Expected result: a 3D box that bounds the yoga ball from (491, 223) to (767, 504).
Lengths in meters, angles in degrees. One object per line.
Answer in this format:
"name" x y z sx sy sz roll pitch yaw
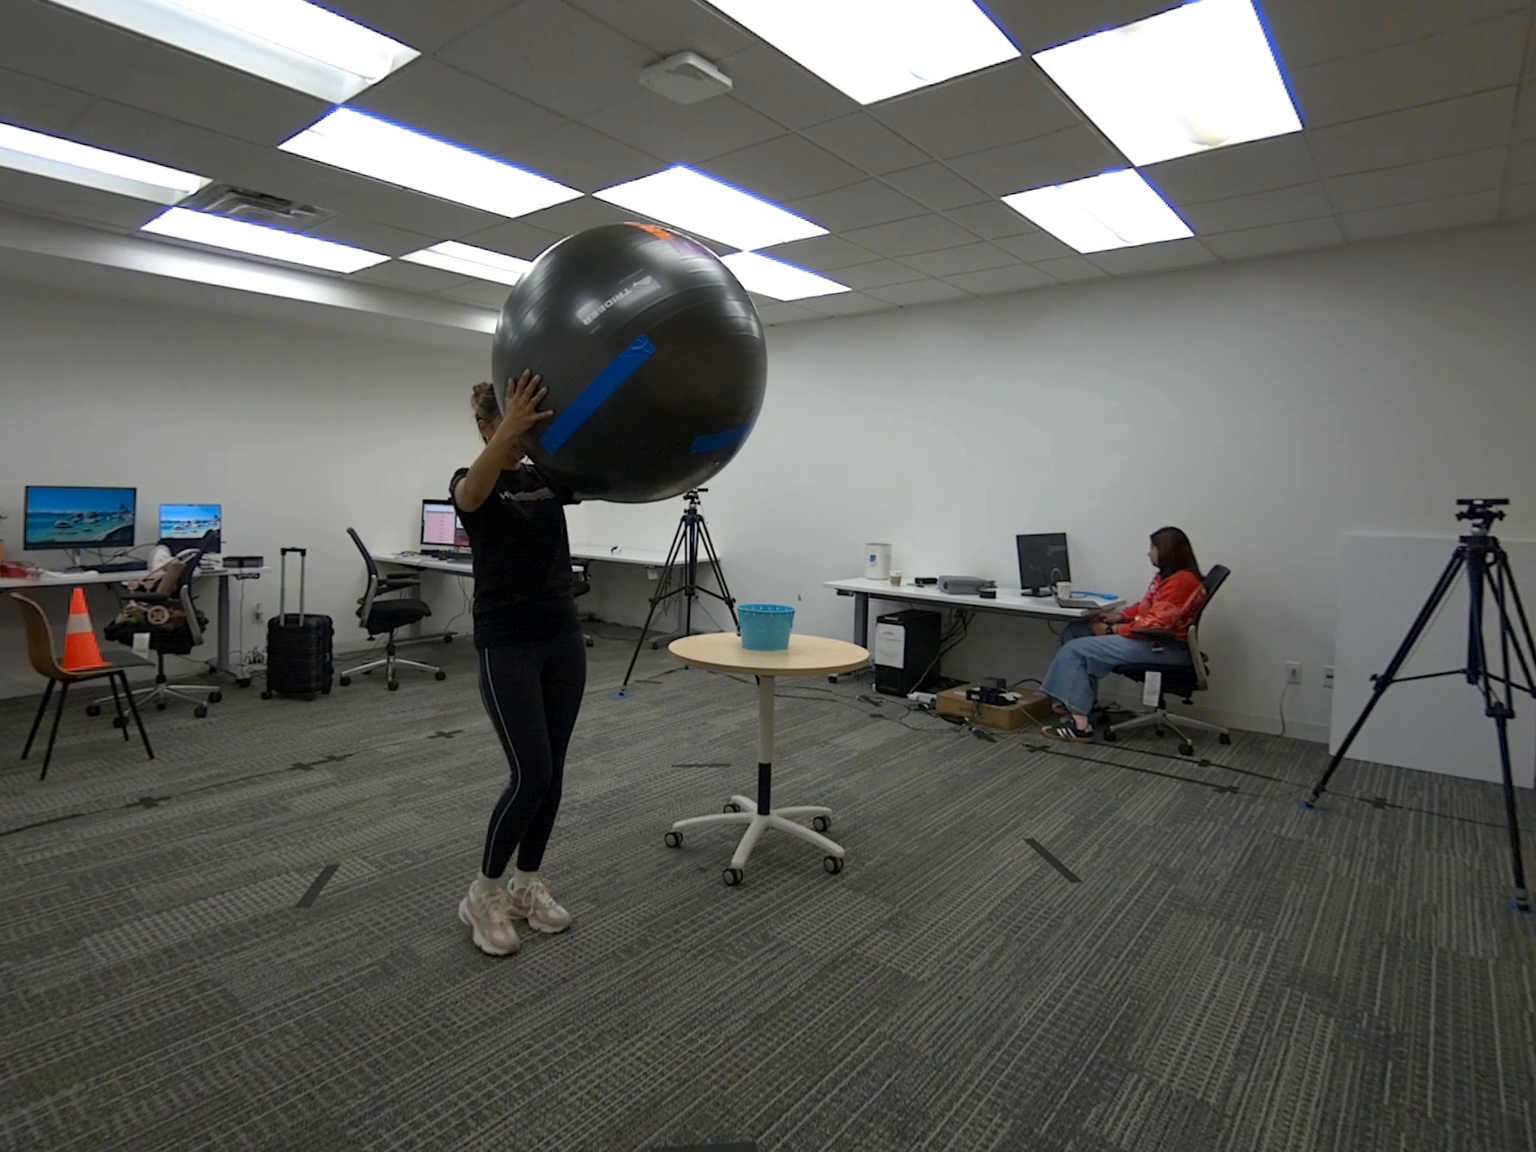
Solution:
"yoga ball" -0.390 -0.571 2.355 0.757 0.756 0.762 1 4 -2
